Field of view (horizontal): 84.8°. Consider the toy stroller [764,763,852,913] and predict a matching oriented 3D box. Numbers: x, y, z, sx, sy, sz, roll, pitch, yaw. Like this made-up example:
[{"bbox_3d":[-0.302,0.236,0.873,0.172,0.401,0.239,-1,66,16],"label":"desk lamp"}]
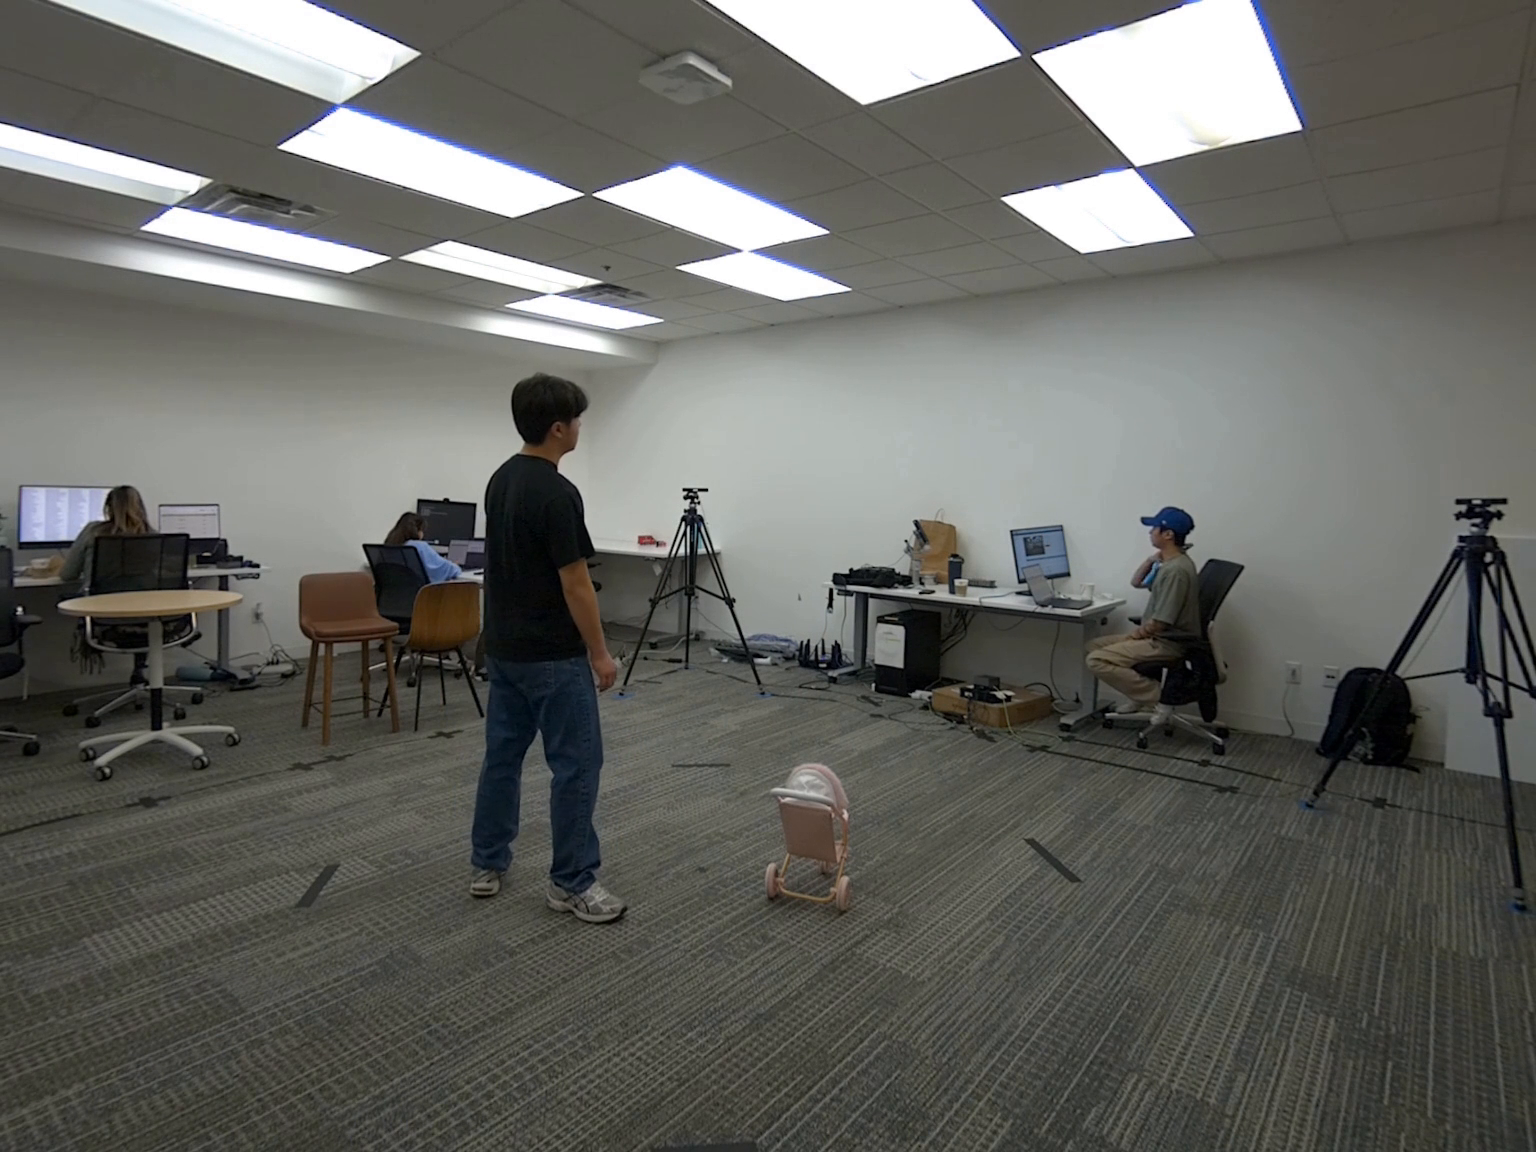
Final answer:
[{"bbox_3d":[0.151,0.875,2.917,0.288,0.525,0.340,4,21,22],"label":"toy stroller"}]
